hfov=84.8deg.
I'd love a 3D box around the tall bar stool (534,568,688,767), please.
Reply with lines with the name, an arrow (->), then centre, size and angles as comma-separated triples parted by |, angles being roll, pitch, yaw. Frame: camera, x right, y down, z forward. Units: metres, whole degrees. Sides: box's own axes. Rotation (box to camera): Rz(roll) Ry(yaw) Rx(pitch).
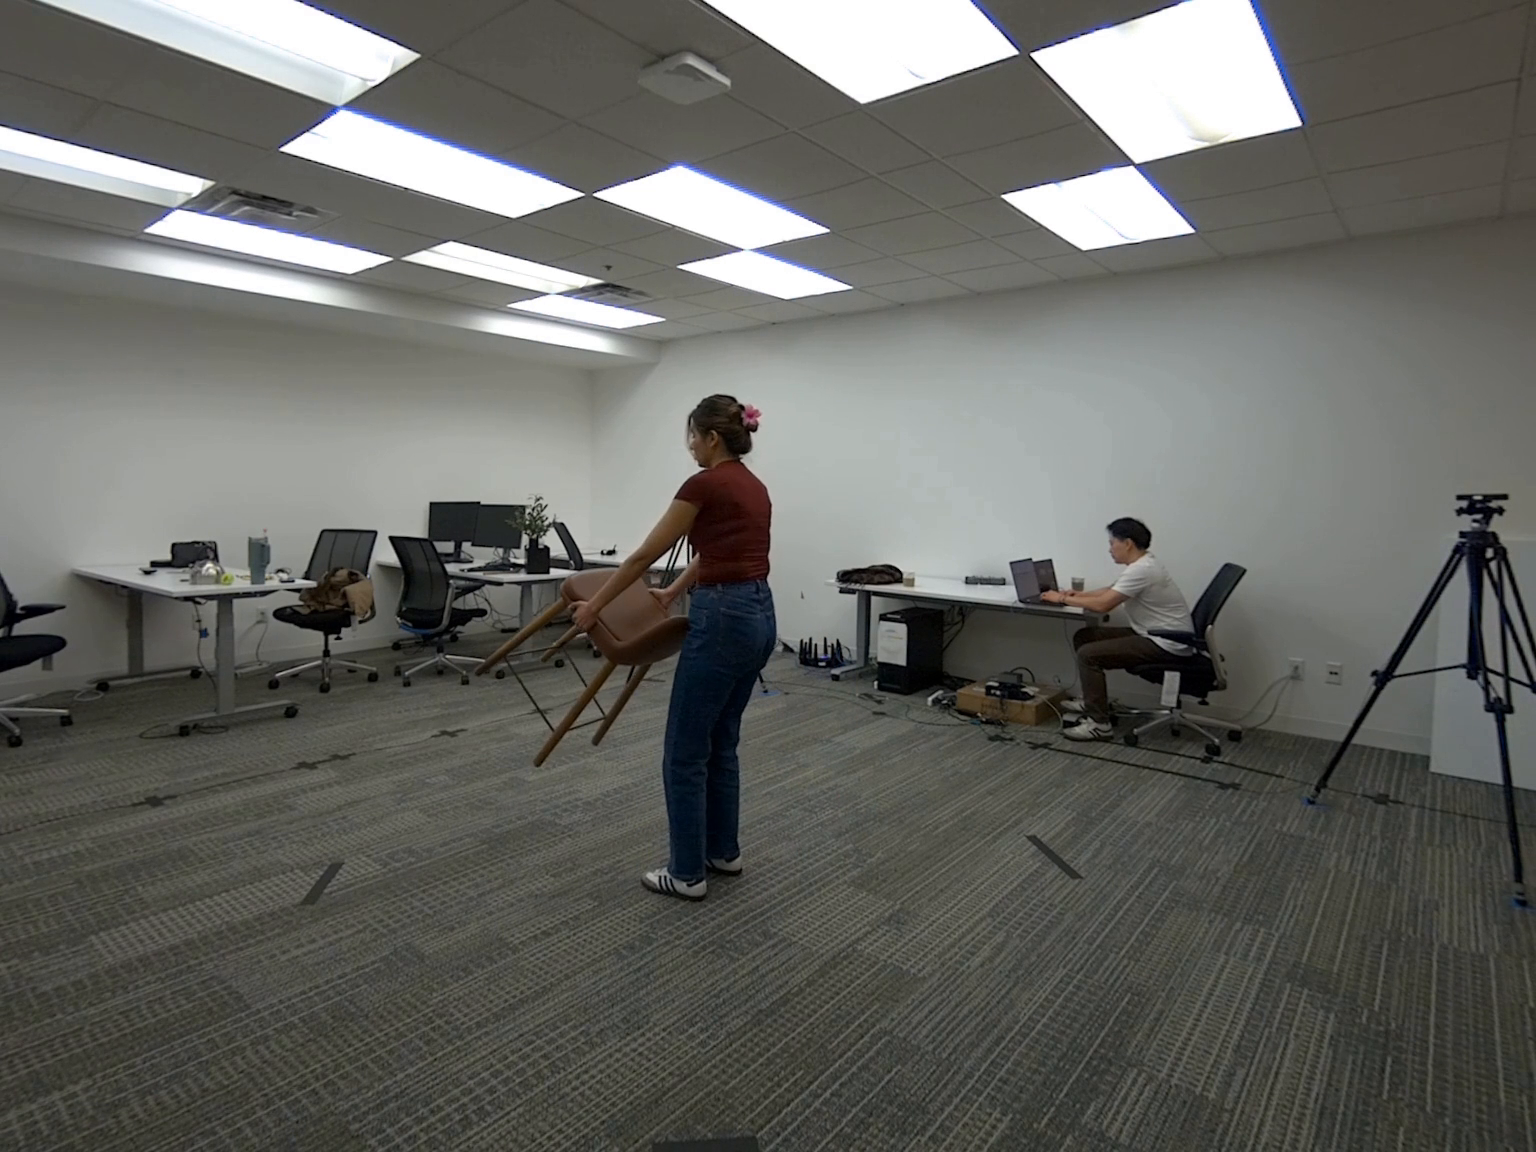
tall bar stool -> -0.631, 0.255, 3.205 | 0.891, 0.479, 0.444 | -43, -18, 22
